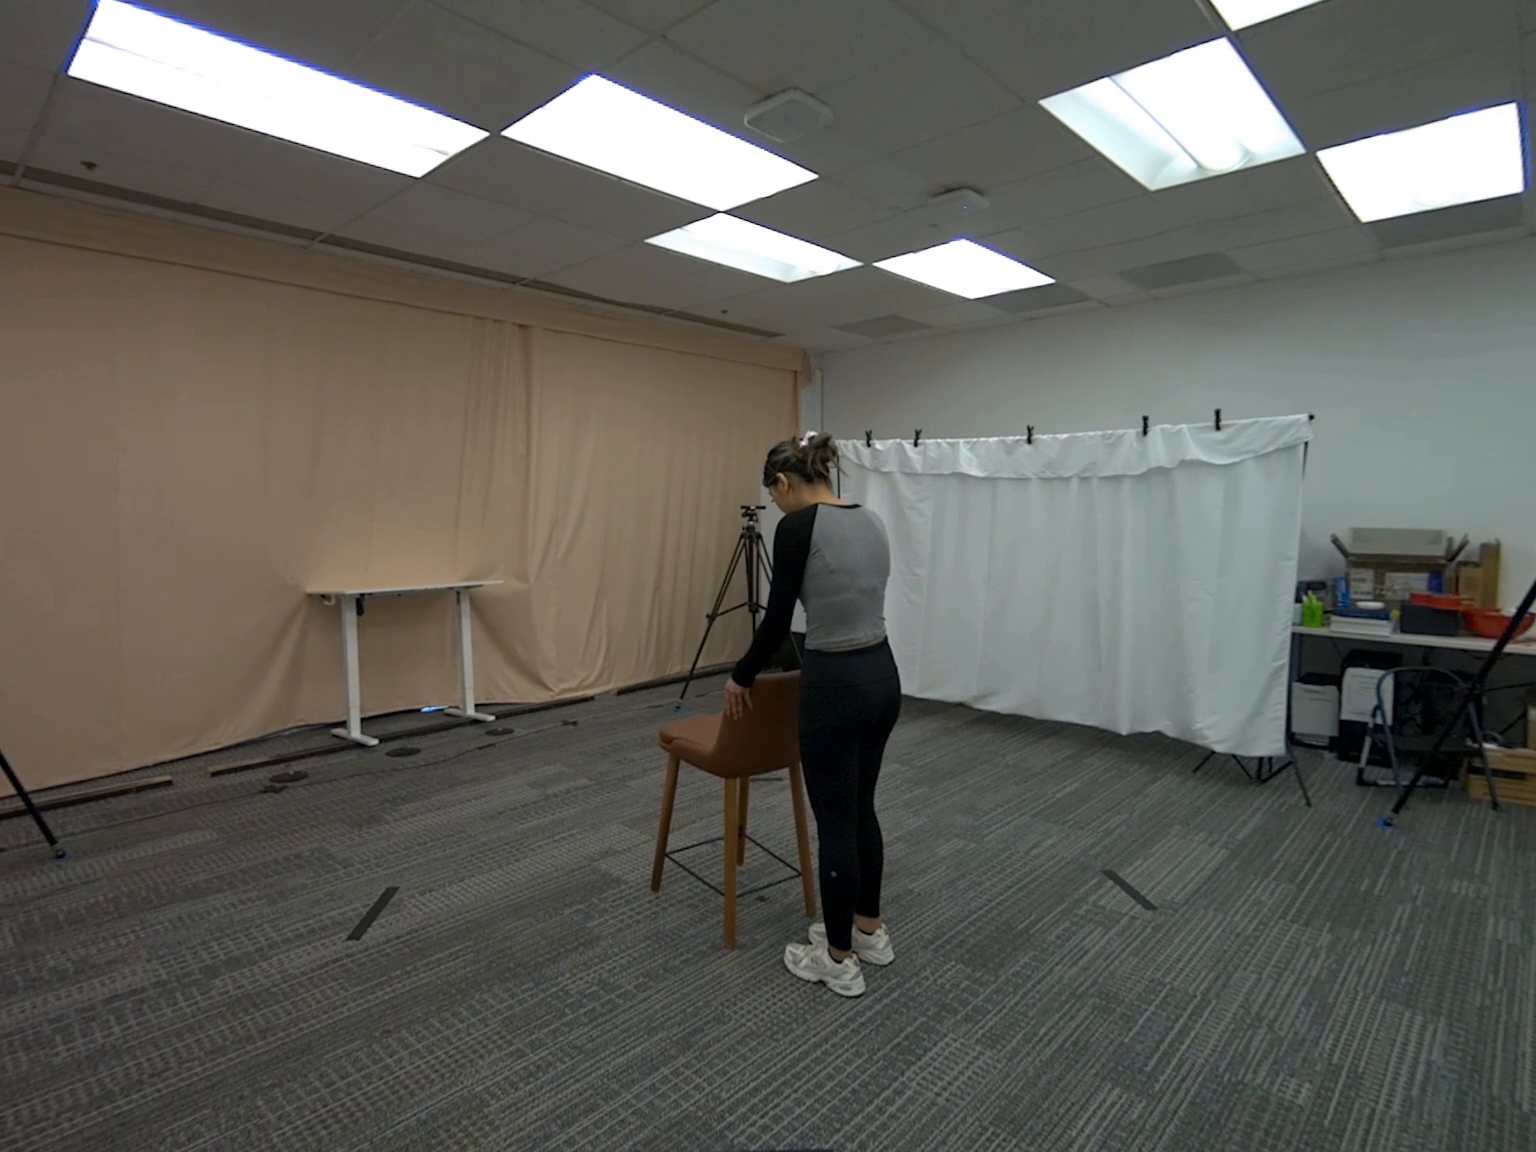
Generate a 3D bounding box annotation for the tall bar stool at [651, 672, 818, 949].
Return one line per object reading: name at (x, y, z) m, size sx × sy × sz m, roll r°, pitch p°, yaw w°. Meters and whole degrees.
tall bar stool at (-0.096, 0.704, 2.872) m, size 0.443 × 0.886 × 0.484 m, roll -2°, pitch 10°, yaw -38°
